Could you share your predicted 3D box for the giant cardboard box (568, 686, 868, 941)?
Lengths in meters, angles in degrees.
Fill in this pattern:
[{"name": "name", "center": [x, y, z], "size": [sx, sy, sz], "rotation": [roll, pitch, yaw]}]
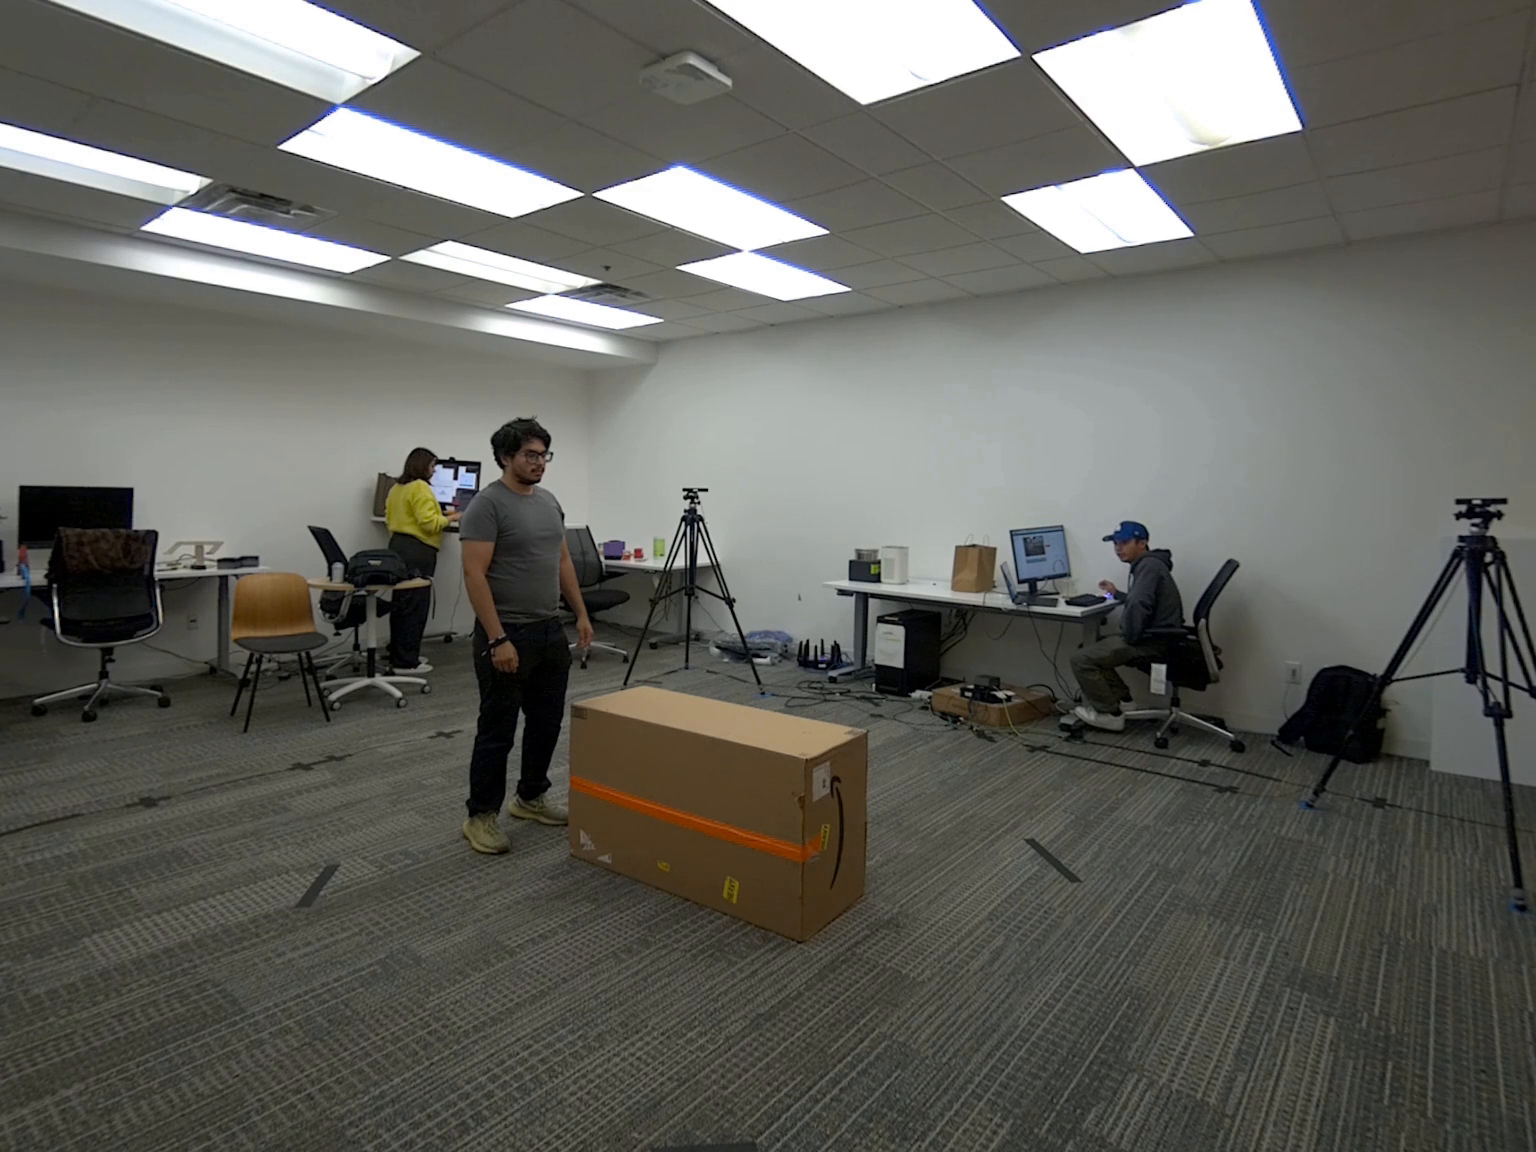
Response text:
[{"name": "giant cardboard box", "center": [-0.212, 0.784, 3.051], "size": [1.059, 0.575, 0.414], "rotation": [5, 5, 35]}]
